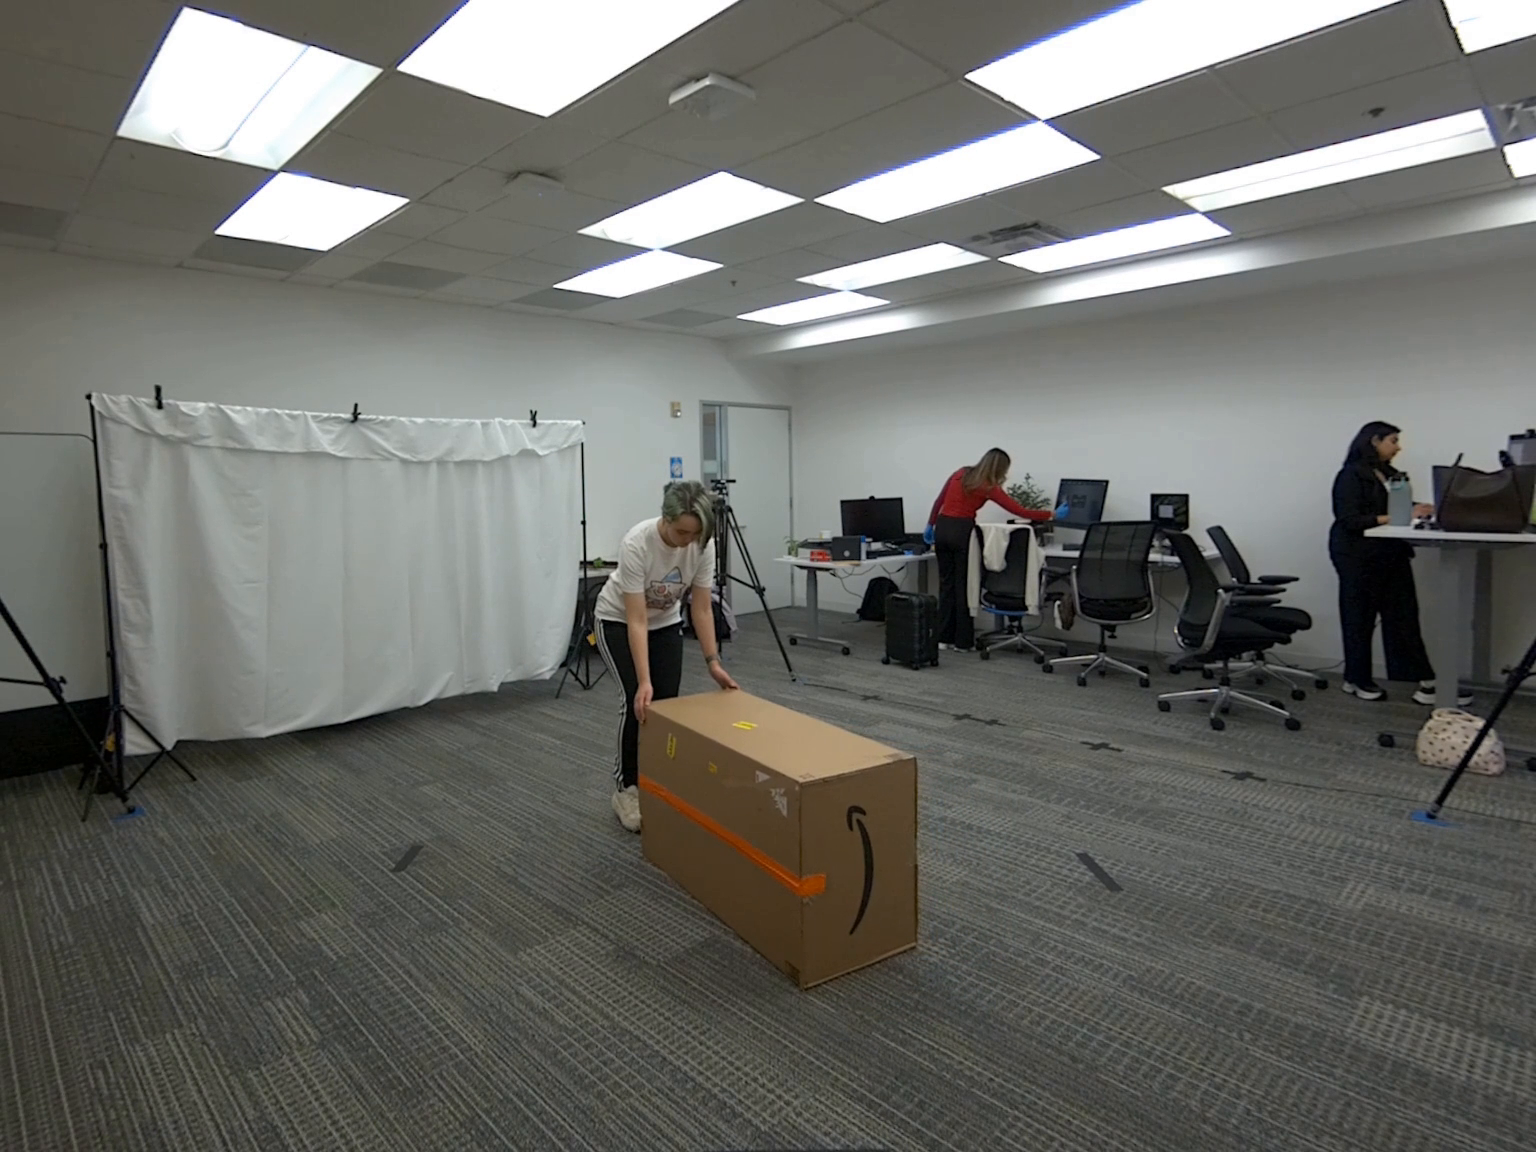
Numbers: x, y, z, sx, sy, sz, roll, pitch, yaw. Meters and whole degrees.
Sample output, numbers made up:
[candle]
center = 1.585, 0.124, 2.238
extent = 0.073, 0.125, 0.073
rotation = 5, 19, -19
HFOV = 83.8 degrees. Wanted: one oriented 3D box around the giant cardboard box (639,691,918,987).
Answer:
[giant cardboard box]
center = -0.013, 0.788, 2.852
extent = 0.436, 0.581, 1.056
rotation = -5, 6, -33
